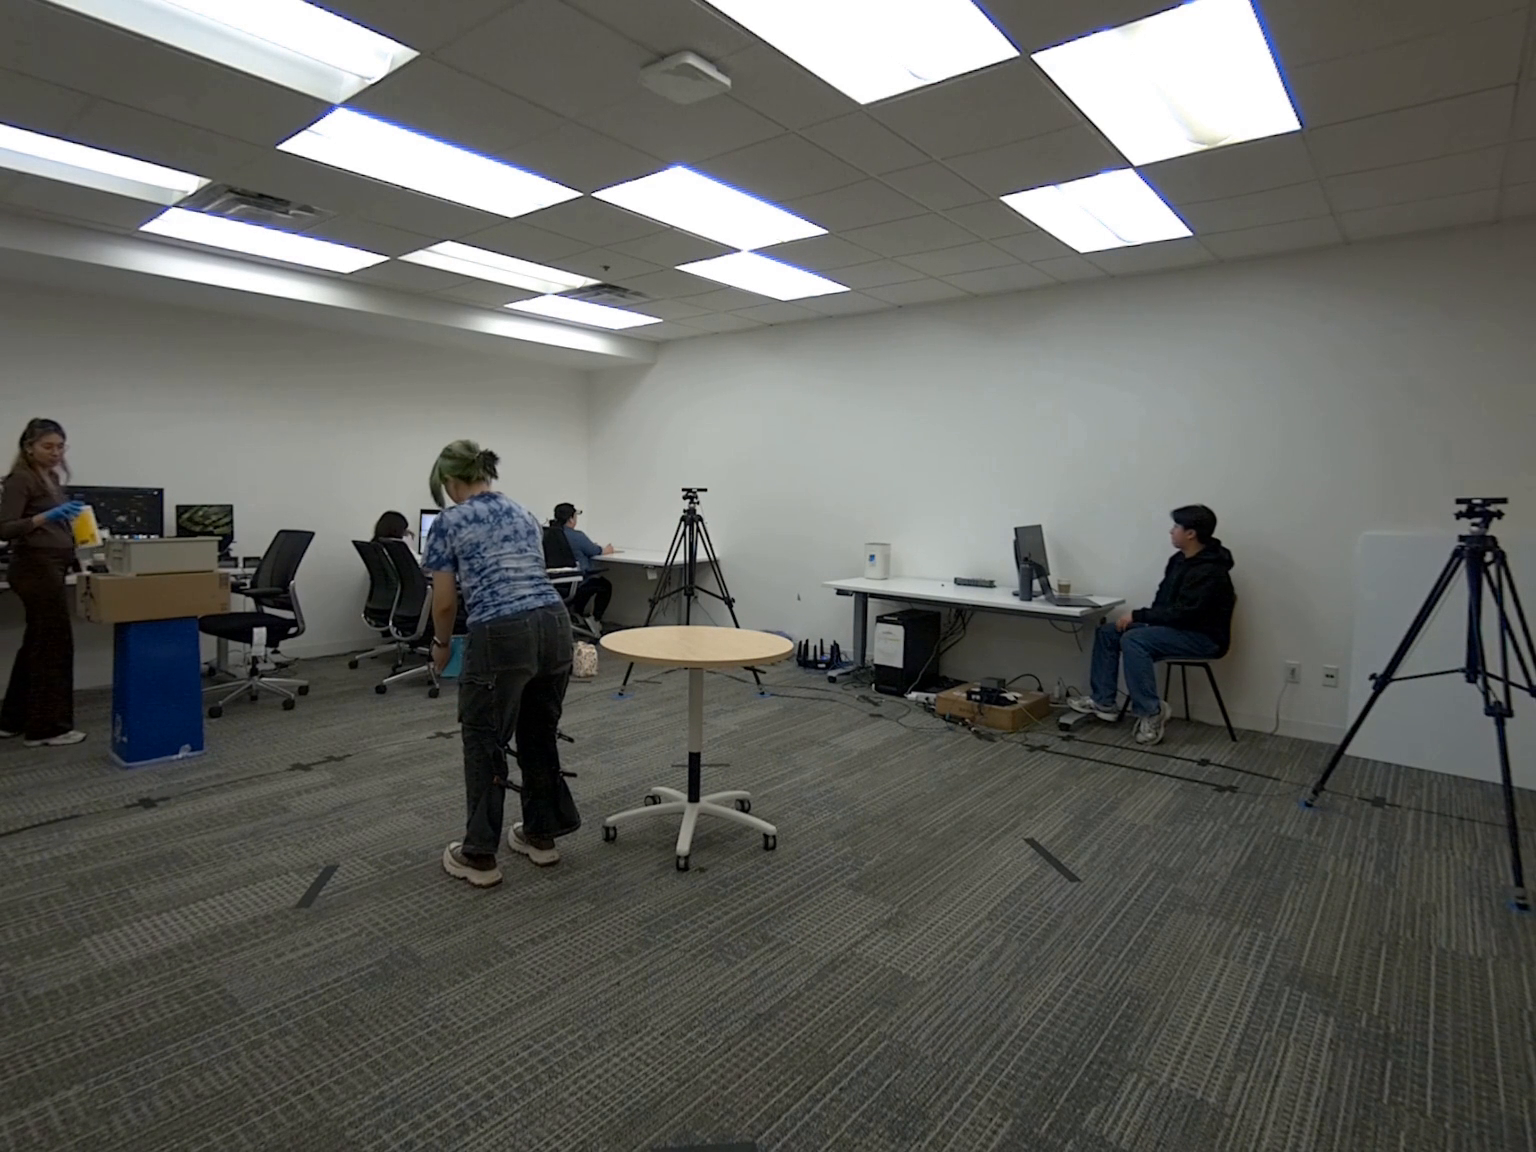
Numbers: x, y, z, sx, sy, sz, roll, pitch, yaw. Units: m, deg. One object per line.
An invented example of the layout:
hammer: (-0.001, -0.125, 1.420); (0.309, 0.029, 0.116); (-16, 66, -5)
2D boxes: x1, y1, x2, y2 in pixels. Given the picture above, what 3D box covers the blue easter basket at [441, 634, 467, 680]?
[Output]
blue easter basket: (-1.198, 0.306, 3.333); (0.243, 0.156, 0.243); (-4, -1, -2)
